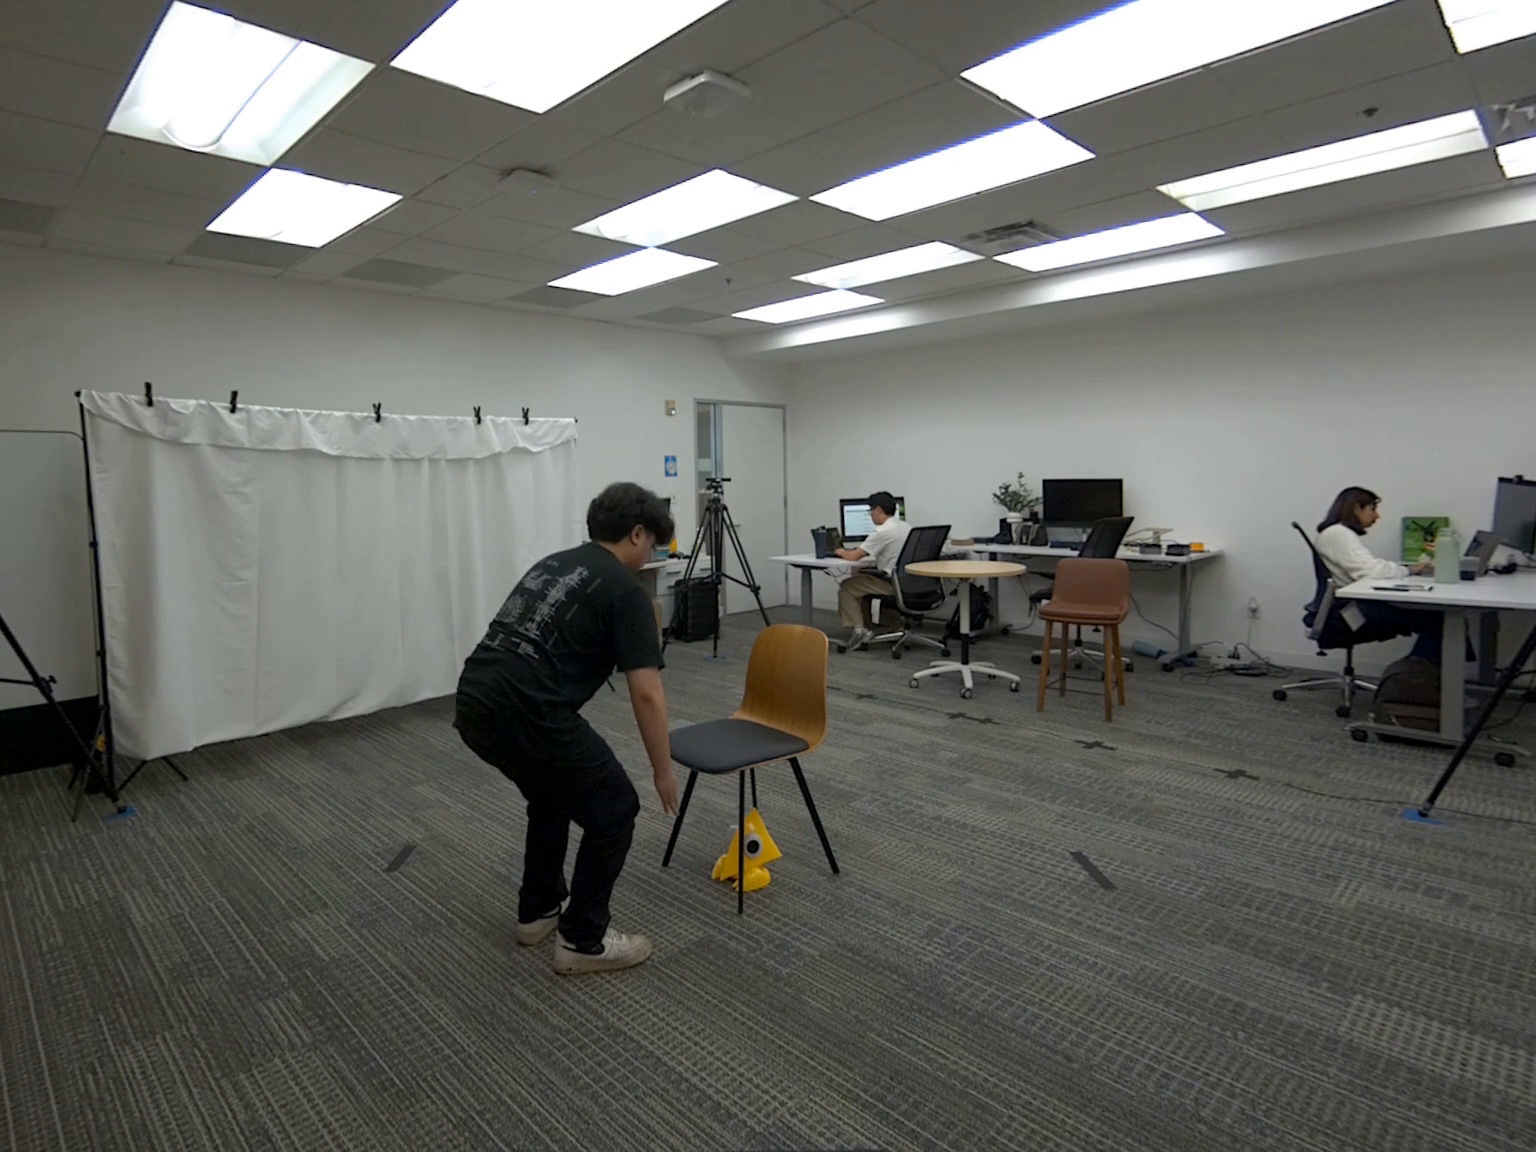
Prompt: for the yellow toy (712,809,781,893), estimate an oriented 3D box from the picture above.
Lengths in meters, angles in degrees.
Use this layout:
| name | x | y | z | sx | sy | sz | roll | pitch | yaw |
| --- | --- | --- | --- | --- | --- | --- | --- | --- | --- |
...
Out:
| name | x | y | z | sx | sy | sz | roll | pitch | yaw |
| --- | --- | --- | --- | --- | --- | --- | --- | --- | --- |
| yellow toy | -0.086 | 0.945 | 2.990 | 0.188 | 0.230 | 0.211 | -6 | 7 | -43 |
